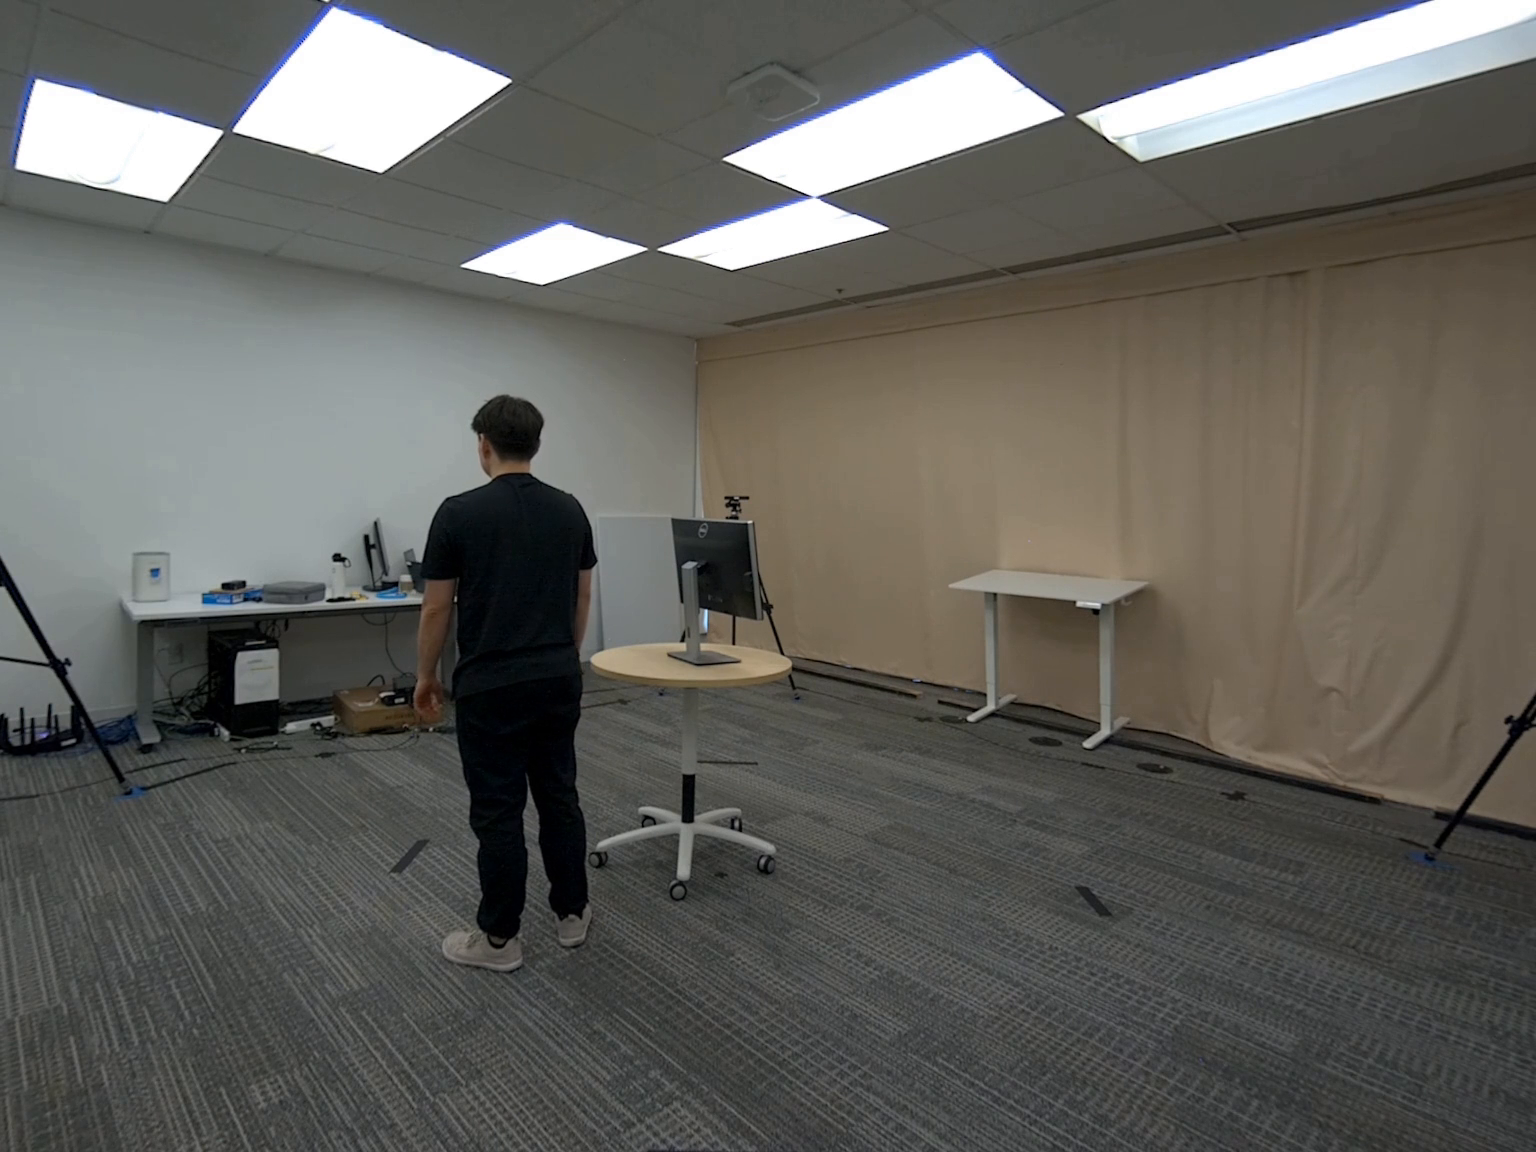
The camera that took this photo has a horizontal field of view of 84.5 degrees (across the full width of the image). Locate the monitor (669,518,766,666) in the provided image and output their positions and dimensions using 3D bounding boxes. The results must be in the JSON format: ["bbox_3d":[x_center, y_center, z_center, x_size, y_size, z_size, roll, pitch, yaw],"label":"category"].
[{"bbox_3d":[-0.246,0.057,3.221,0.183,0.522,0.552,1,3,-37],"label":"monitor"}]
